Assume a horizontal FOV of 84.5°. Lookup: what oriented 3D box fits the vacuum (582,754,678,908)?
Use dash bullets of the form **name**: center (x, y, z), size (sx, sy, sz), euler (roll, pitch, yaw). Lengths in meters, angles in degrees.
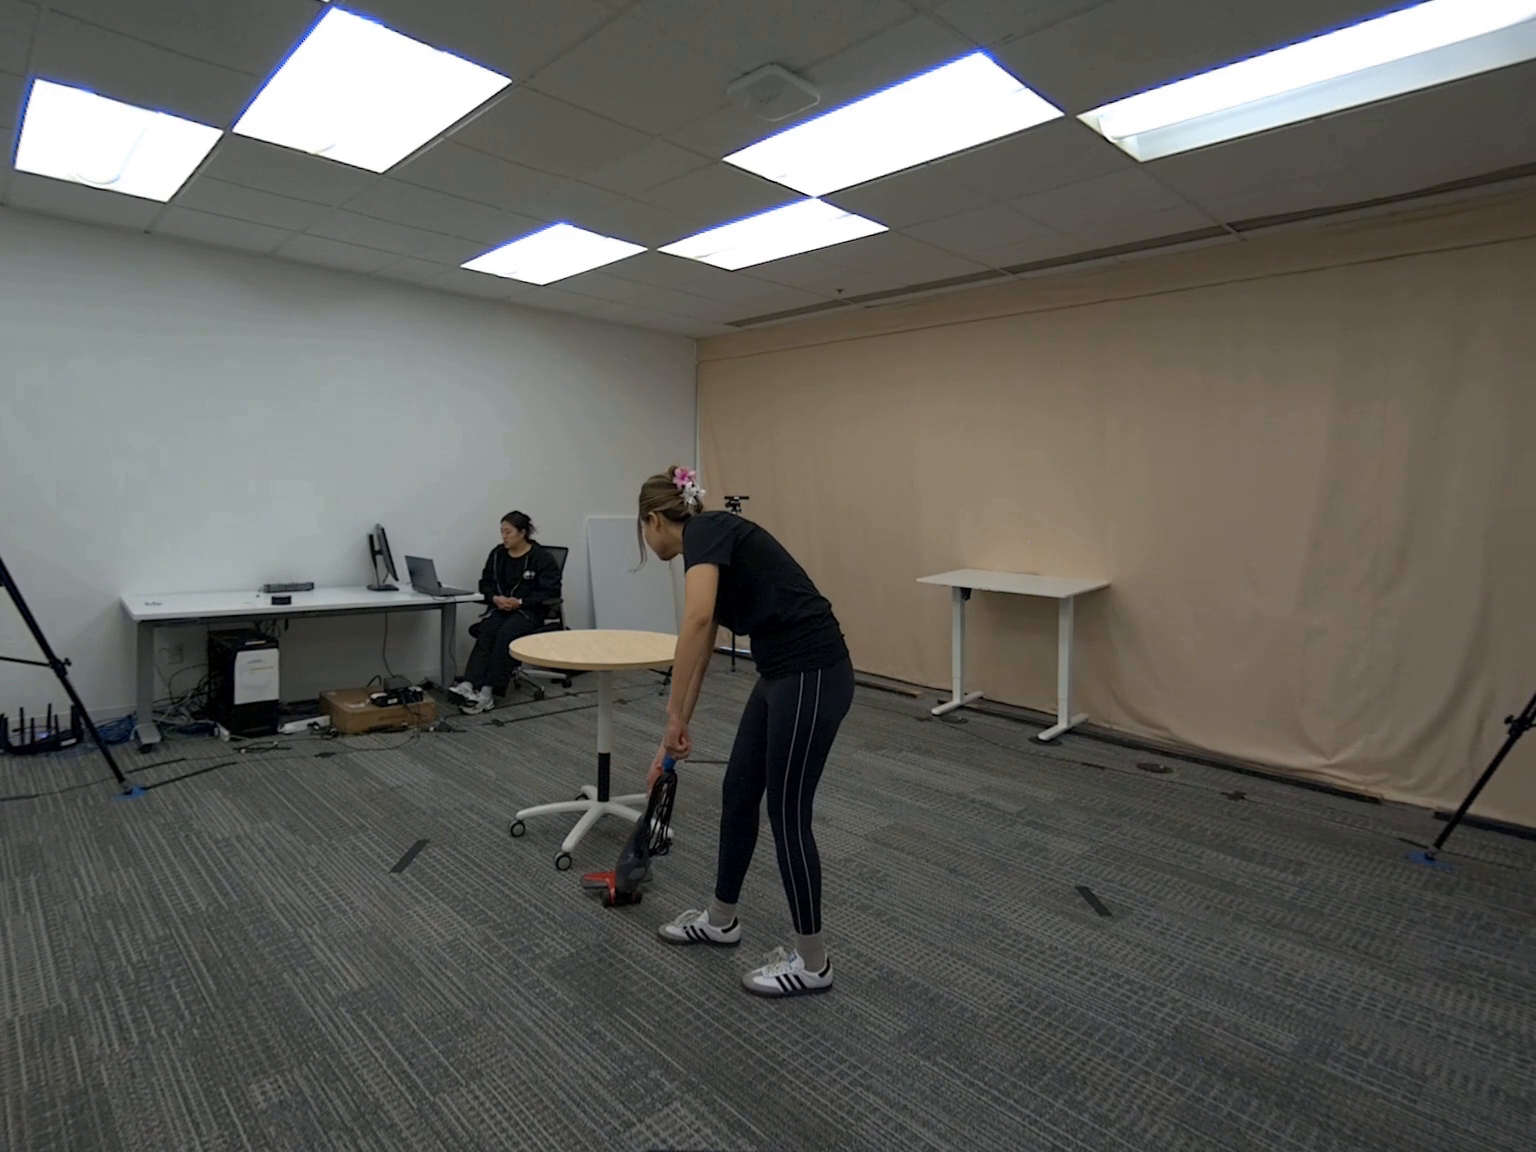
- **vacuum**: center (-0.373, 0.779, 2.547), size (0.248, 0.148, 1.039), euler (-1, -36, -22)
